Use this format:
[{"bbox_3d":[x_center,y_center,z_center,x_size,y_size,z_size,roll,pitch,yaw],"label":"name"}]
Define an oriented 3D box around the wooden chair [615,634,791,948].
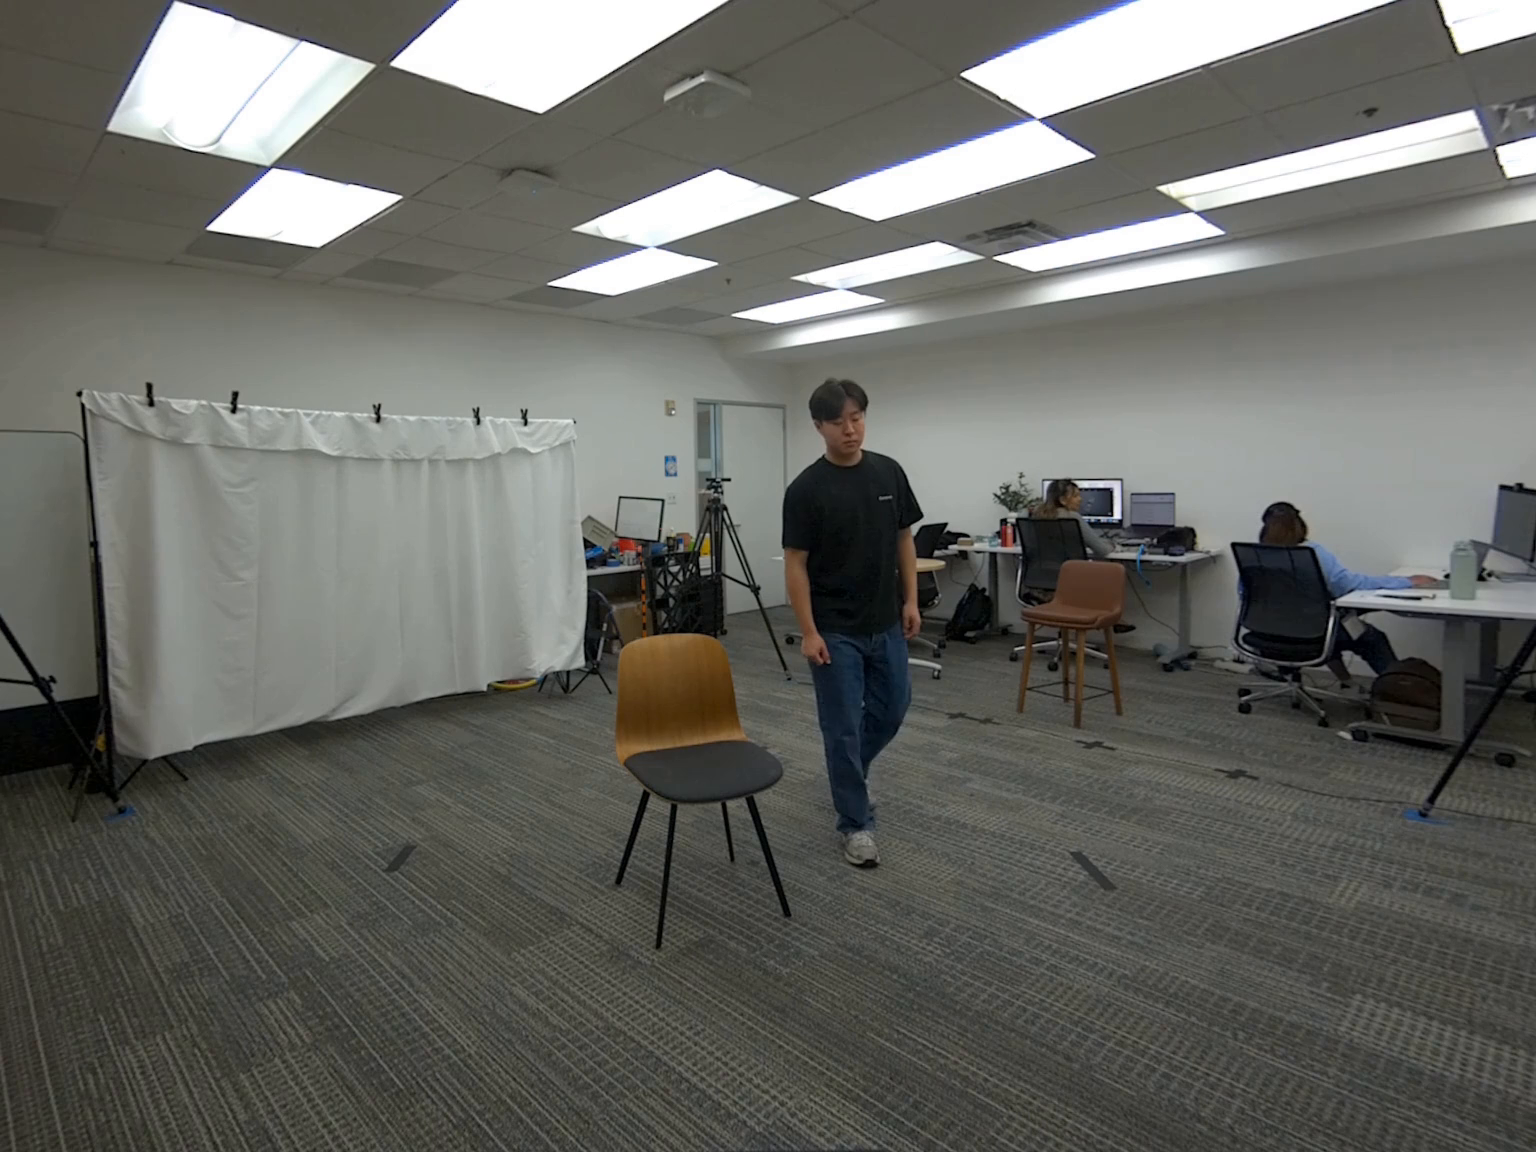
[{"bbox_3d":[-0.229,0.653,2.798,0.468,0.877,0.534,-3,1,-25],"label":"wooden chair"}]
